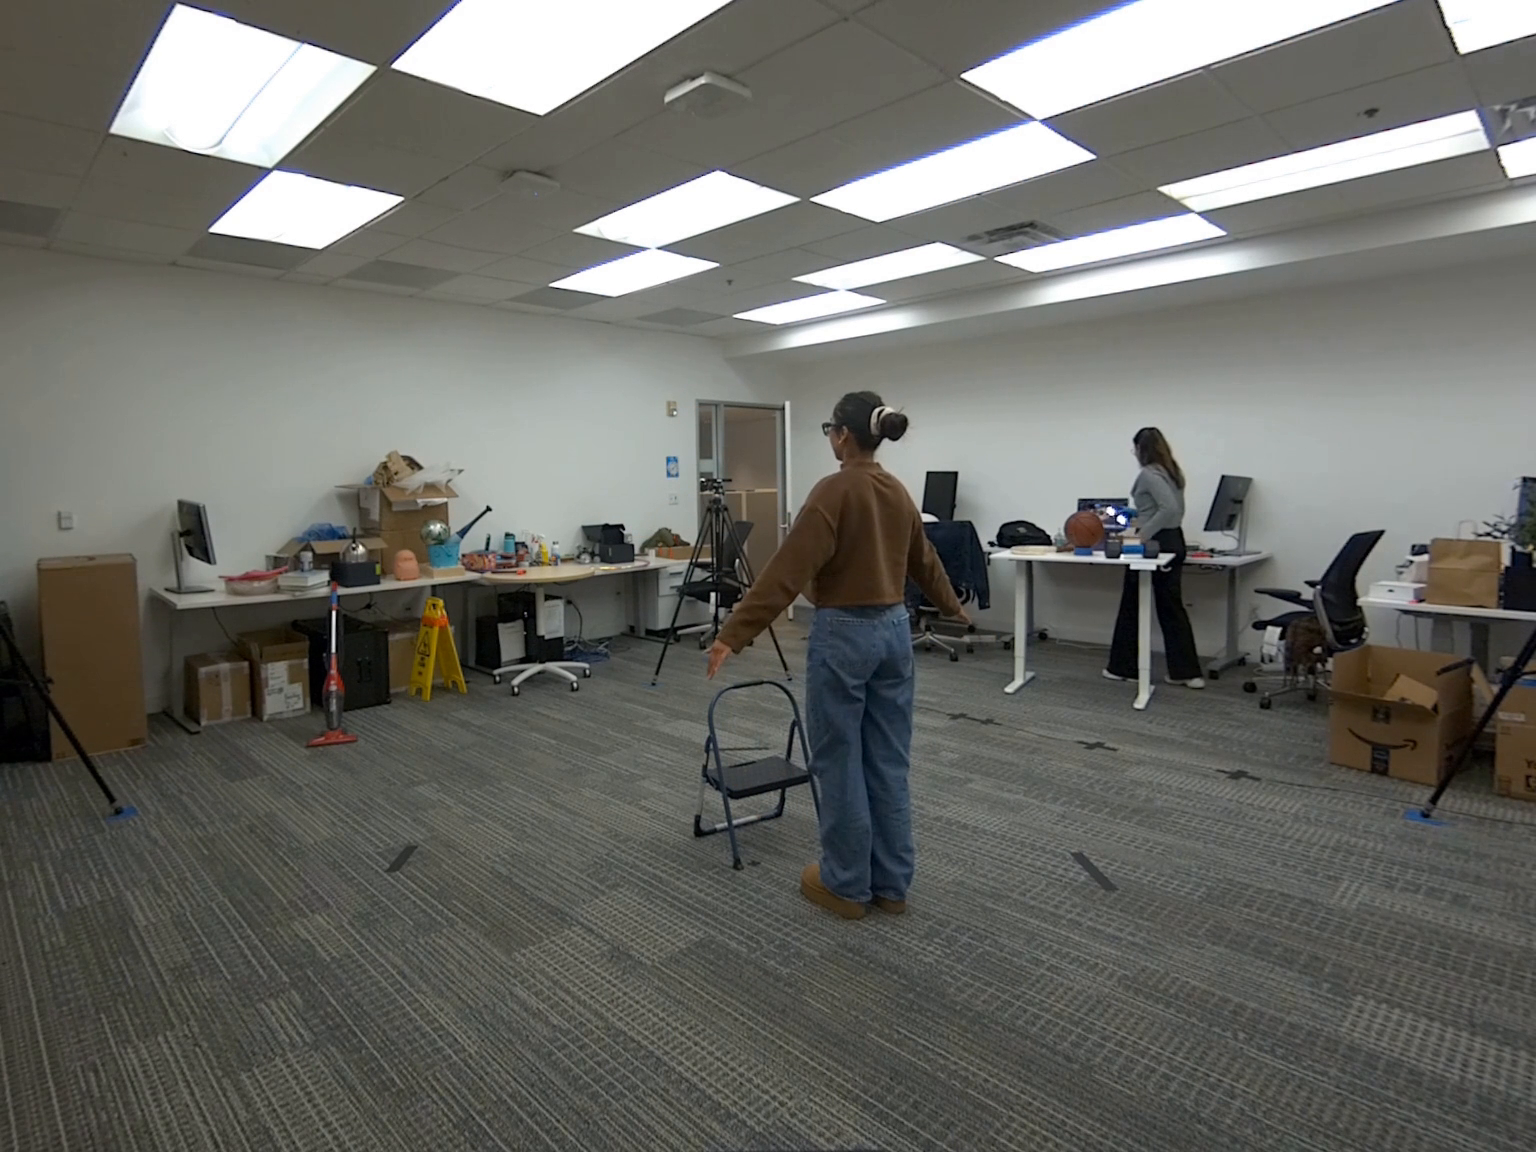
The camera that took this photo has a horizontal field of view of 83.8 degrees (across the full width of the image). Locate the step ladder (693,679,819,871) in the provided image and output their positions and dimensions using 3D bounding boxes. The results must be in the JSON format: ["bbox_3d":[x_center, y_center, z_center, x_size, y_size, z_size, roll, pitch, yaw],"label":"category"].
[{"bbox_3d":[-0.031,0.718,3.290,0.420,0.604,0.359,-4,5,-33],"label":"step ladder"}]
